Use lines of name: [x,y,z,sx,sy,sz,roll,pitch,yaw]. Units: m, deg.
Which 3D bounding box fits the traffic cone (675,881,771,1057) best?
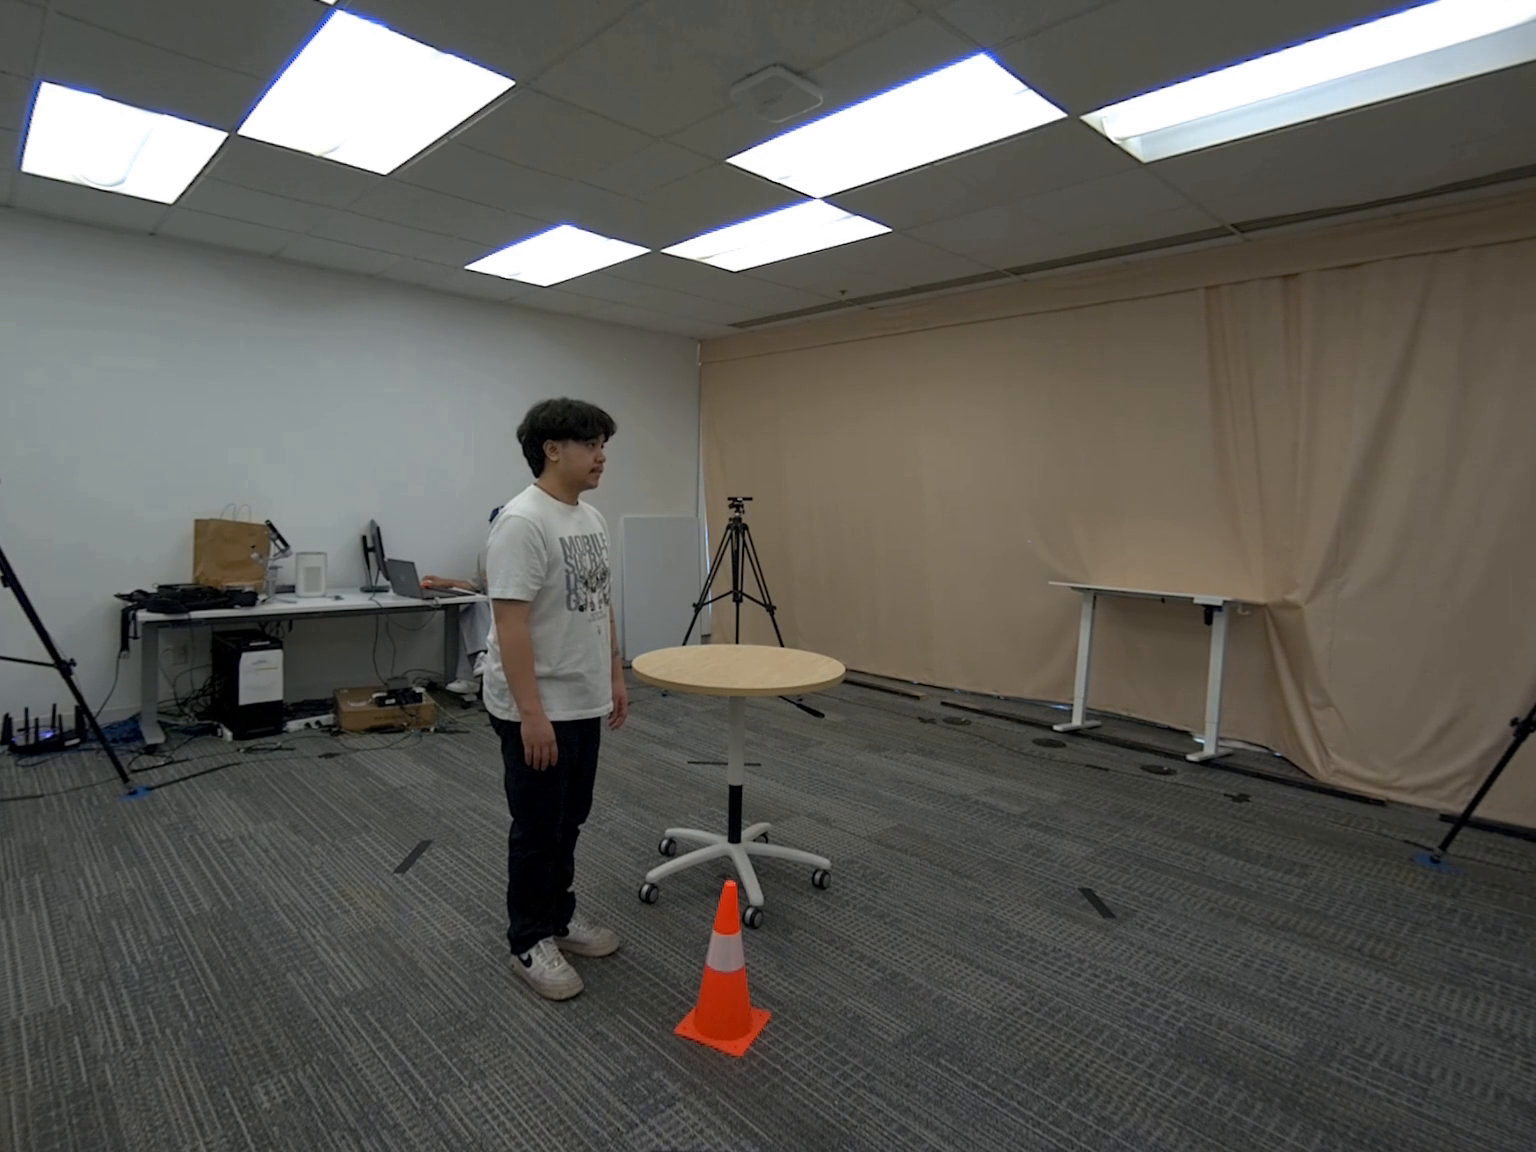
traffic cone: [-0.116,1.008,2.209,0.210,0.383,0.199,6,4,33]
